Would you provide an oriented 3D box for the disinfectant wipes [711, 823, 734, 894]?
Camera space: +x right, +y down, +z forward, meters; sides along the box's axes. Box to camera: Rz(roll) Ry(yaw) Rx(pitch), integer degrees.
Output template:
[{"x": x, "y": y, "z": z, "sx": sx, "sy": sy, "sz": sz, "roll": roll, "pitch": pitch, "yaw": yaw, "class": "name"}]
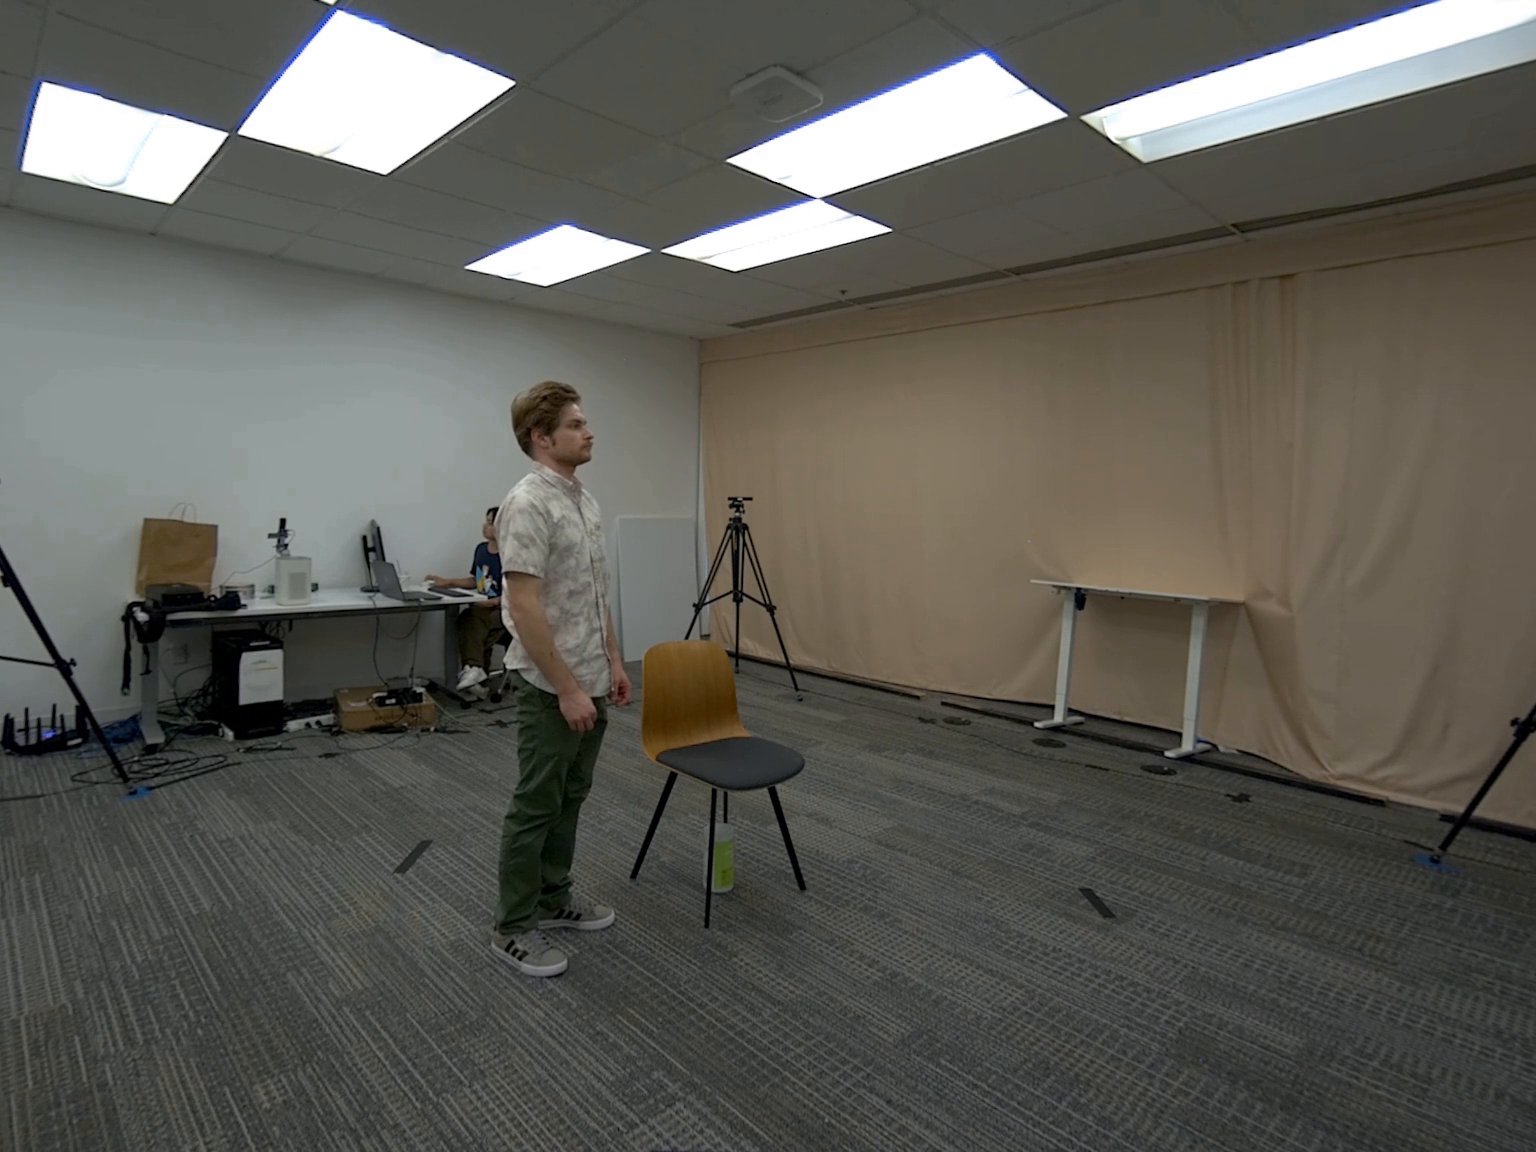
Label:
[{"x": -0.187, "y": 1.019, "z": 3.007, "sx": 0.118, "sy": 0.217, "sz": 0.118, "roll": 1, "pitch": 2, "yaw": -1, "class": "disinfectant wipes"}]
